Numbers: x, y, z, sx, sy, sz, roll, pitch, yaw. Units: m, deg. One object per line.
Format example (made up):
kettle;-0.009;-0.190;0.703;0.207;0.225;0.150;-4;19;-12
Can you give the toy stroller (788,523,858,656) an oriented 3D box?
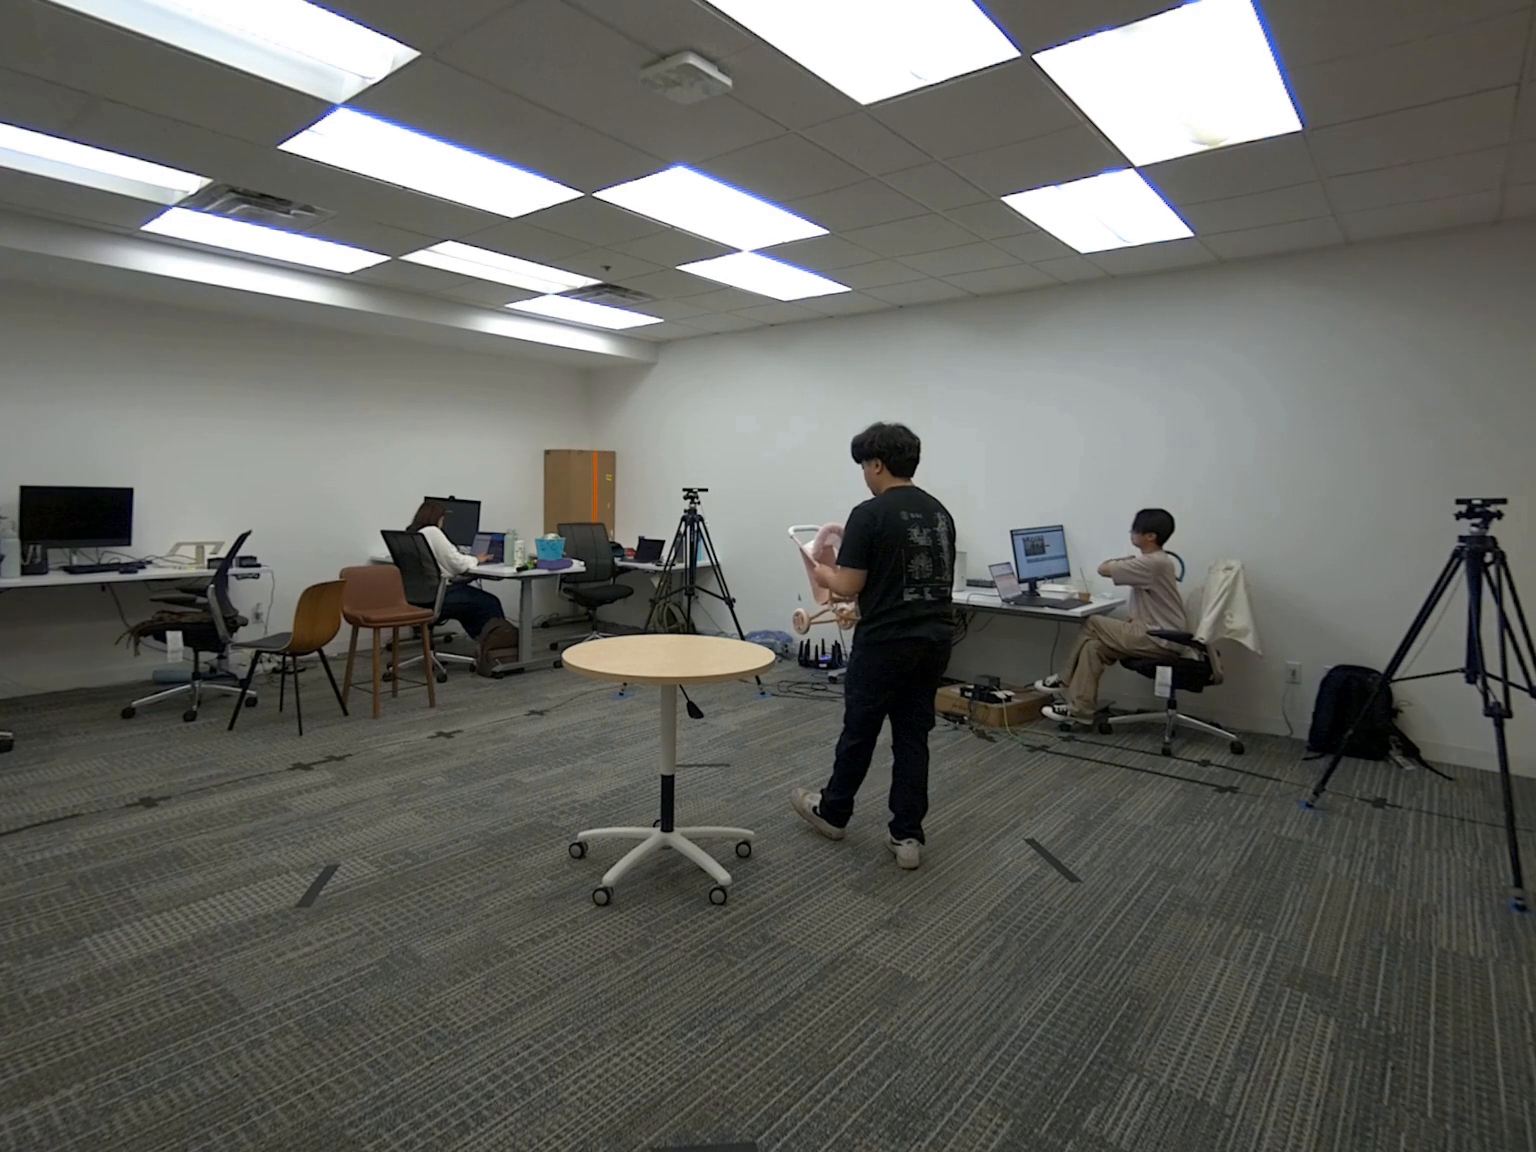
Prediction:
toy stroller;0.271;0.013;3.581;0.274;0.540;0.347;-2;-10;-31
